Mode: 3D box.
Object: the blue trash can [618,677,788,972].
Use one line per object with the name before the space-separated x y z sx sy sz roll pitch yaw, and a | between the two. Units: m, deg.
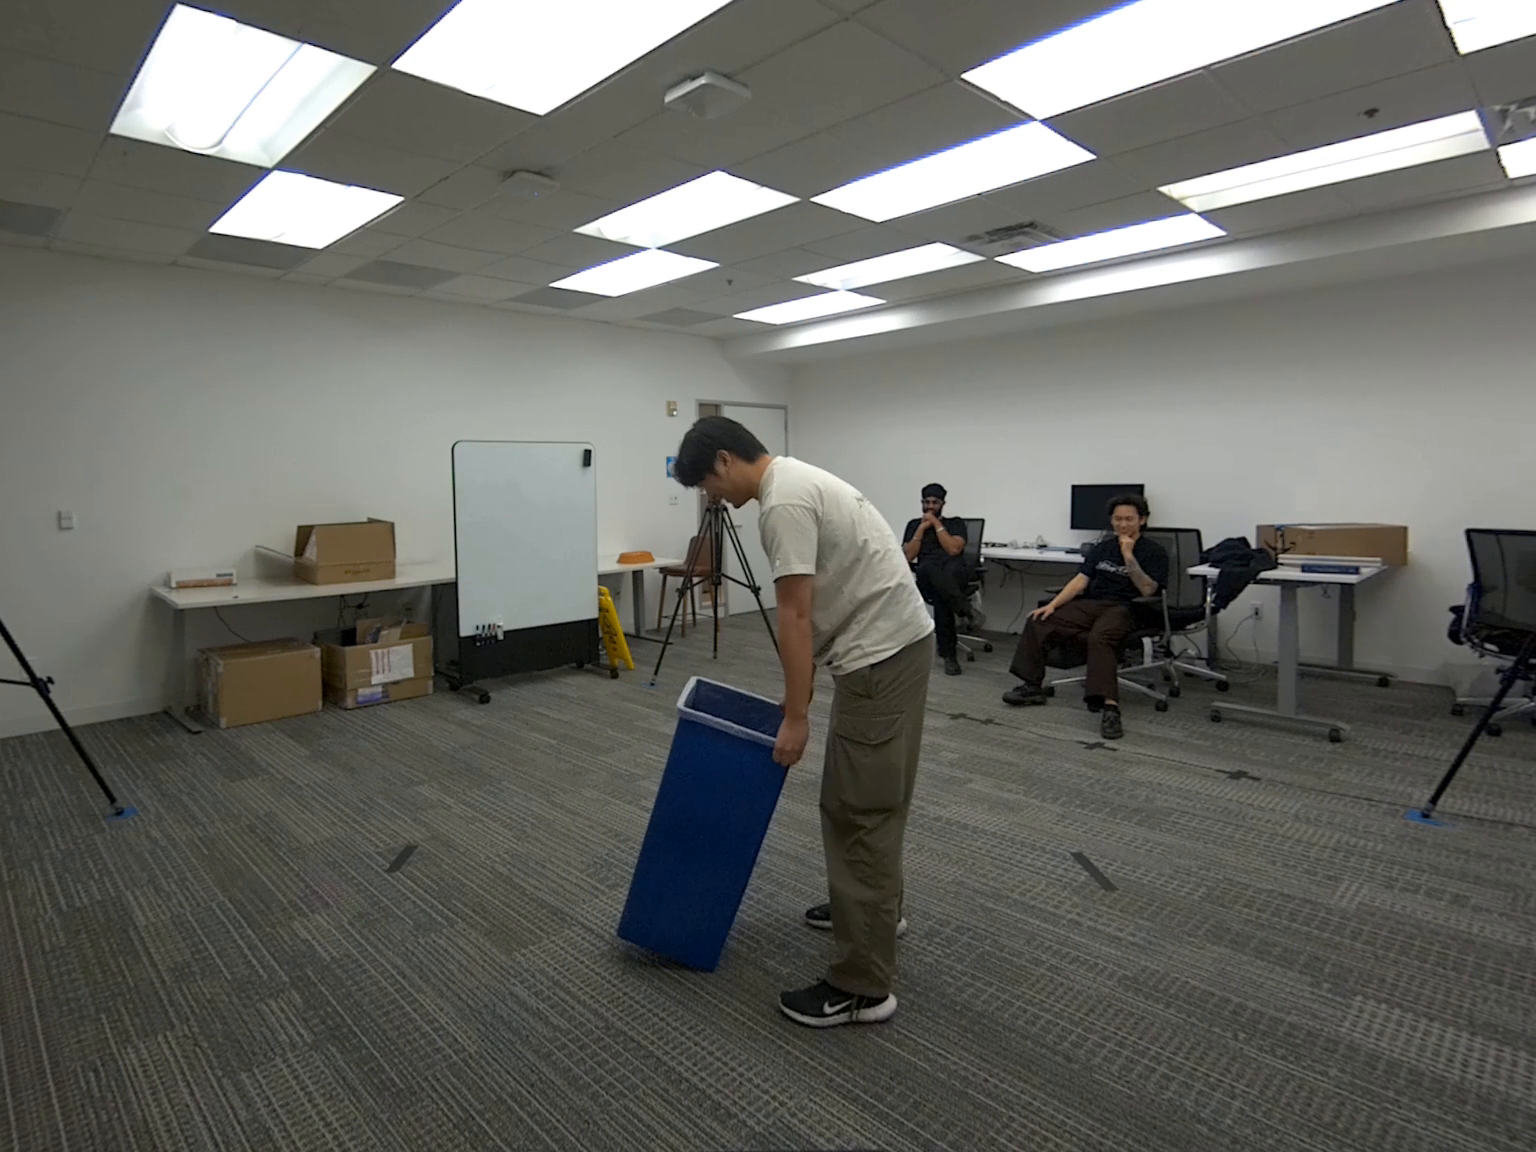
blue trash can | -0.175 0.729 2.536 0.375 0.711 0.379 18 6 1
